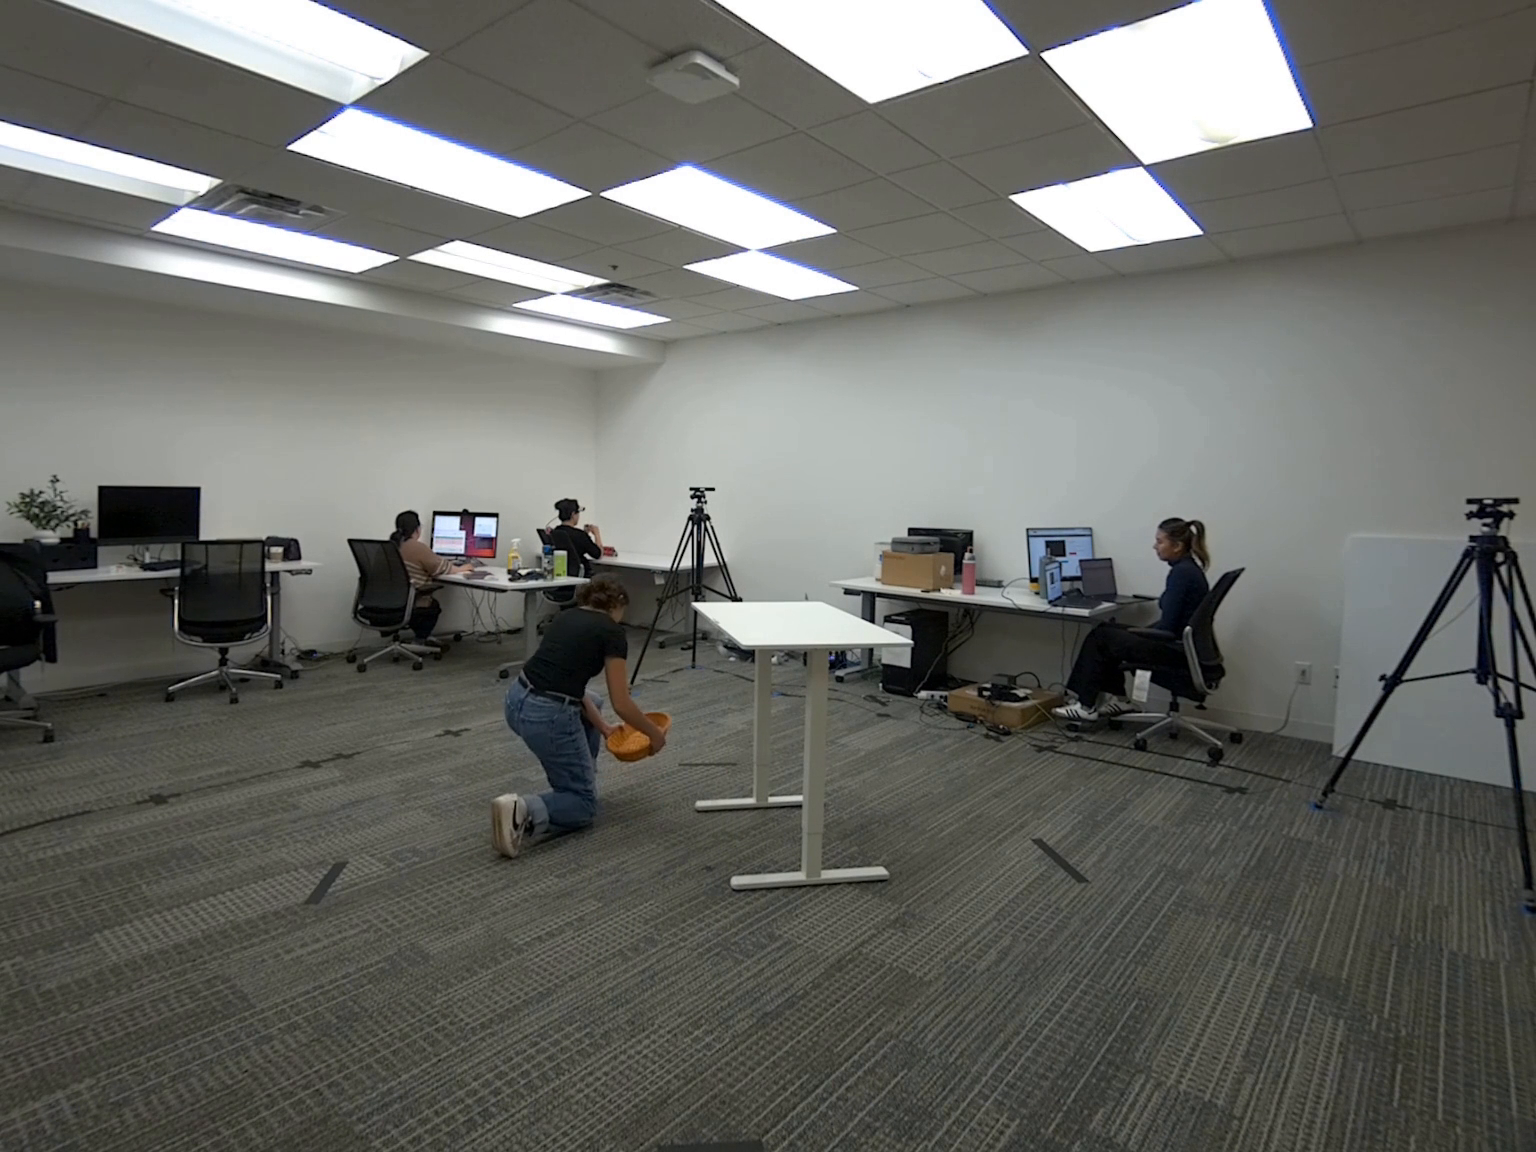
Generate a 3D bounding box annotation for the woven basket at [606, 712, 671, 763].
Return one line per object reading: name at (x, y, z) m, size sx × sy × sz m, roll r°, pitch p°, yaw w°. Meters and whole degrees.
woven basket at (-0.588, 0.719, 3.735) m, size 0.259 × 0.072 × 0.348 m, roll -2°, pitch 21°, yaw 26°
